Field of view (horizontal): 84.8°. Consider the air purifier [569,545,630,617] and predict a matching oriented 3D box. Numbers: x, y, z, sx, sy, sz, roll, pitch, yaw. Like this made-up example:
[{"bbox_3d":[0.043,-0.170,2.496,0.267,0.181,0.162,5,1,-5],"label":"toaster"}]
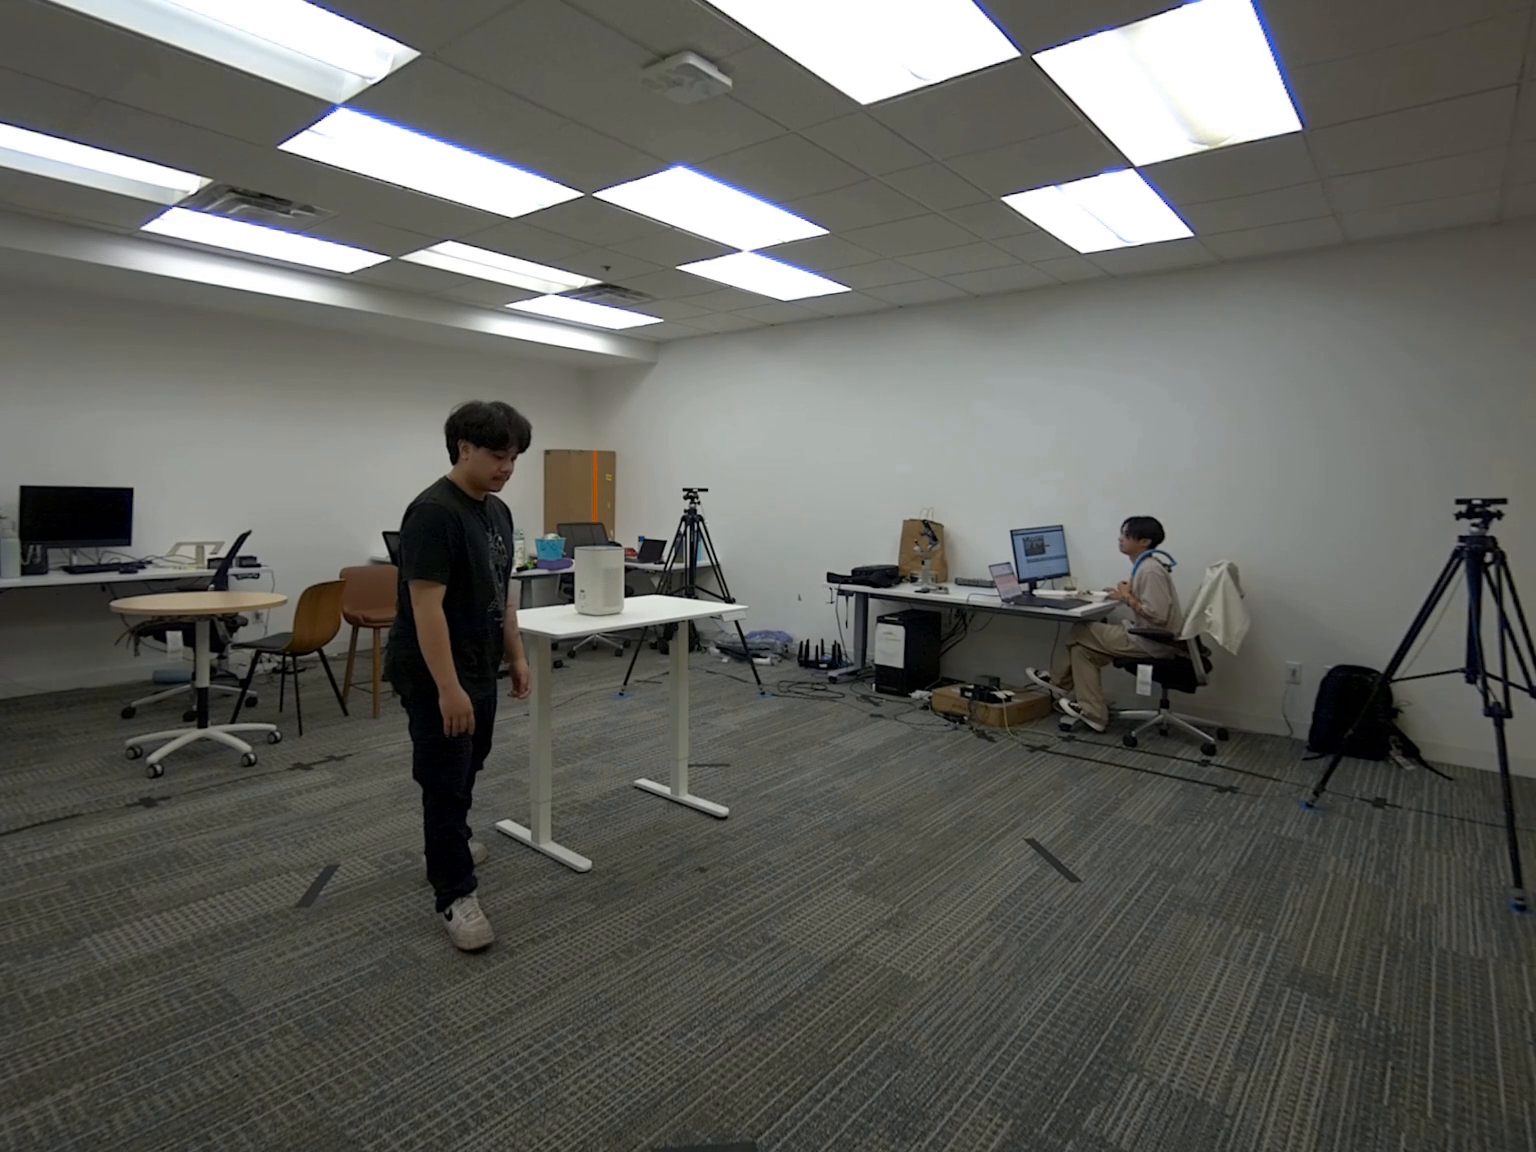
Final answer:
[{"bbox_3d":[-0.689,0.013,3.428,0.177,0.265,0.166,2,3,41],"label":"air purifier"}]
